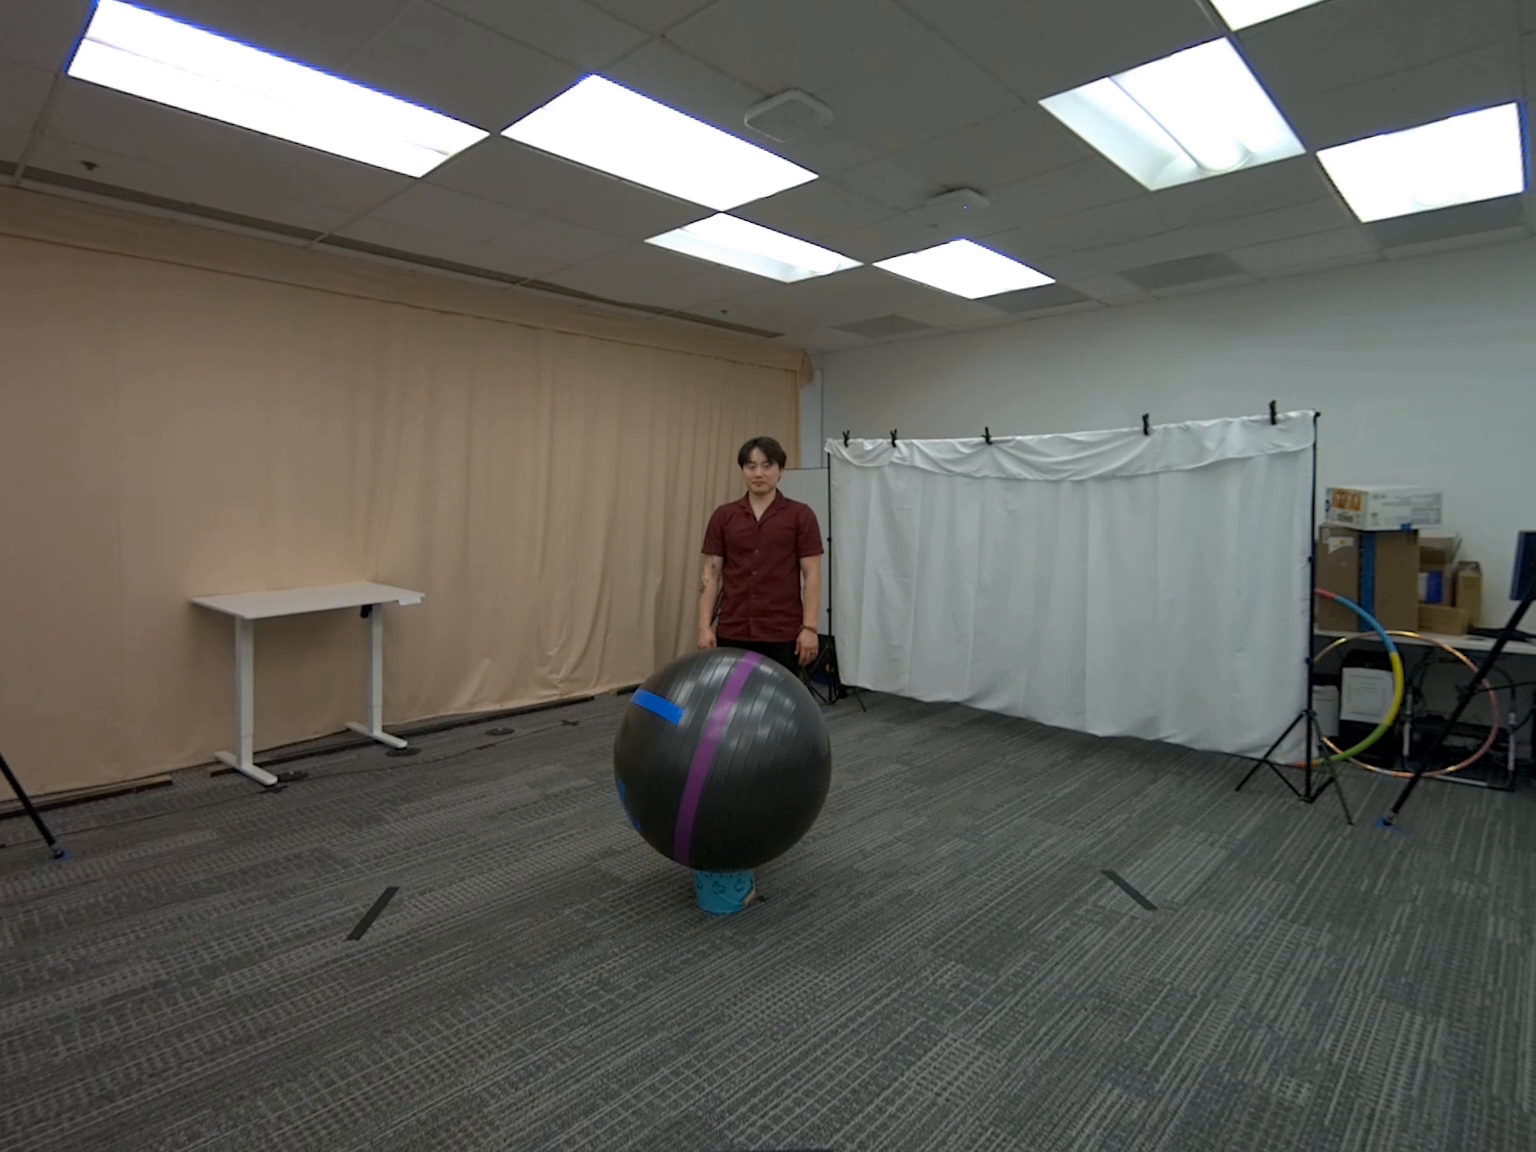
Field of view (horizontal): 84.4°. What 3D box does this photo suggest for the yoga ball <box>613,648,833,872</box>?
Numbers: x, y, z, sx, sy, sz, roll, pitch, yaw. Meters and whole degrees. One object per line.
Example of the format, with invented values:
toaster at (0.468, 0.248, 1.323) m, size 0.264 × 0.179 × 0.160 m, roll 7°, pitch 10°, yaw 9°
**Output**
yoga ball at (-0.153, 0.633, 2.945) m, size 0.757 × 0.756 × 0.760 m, roll 0°, pitch 4°, yaw -2°
